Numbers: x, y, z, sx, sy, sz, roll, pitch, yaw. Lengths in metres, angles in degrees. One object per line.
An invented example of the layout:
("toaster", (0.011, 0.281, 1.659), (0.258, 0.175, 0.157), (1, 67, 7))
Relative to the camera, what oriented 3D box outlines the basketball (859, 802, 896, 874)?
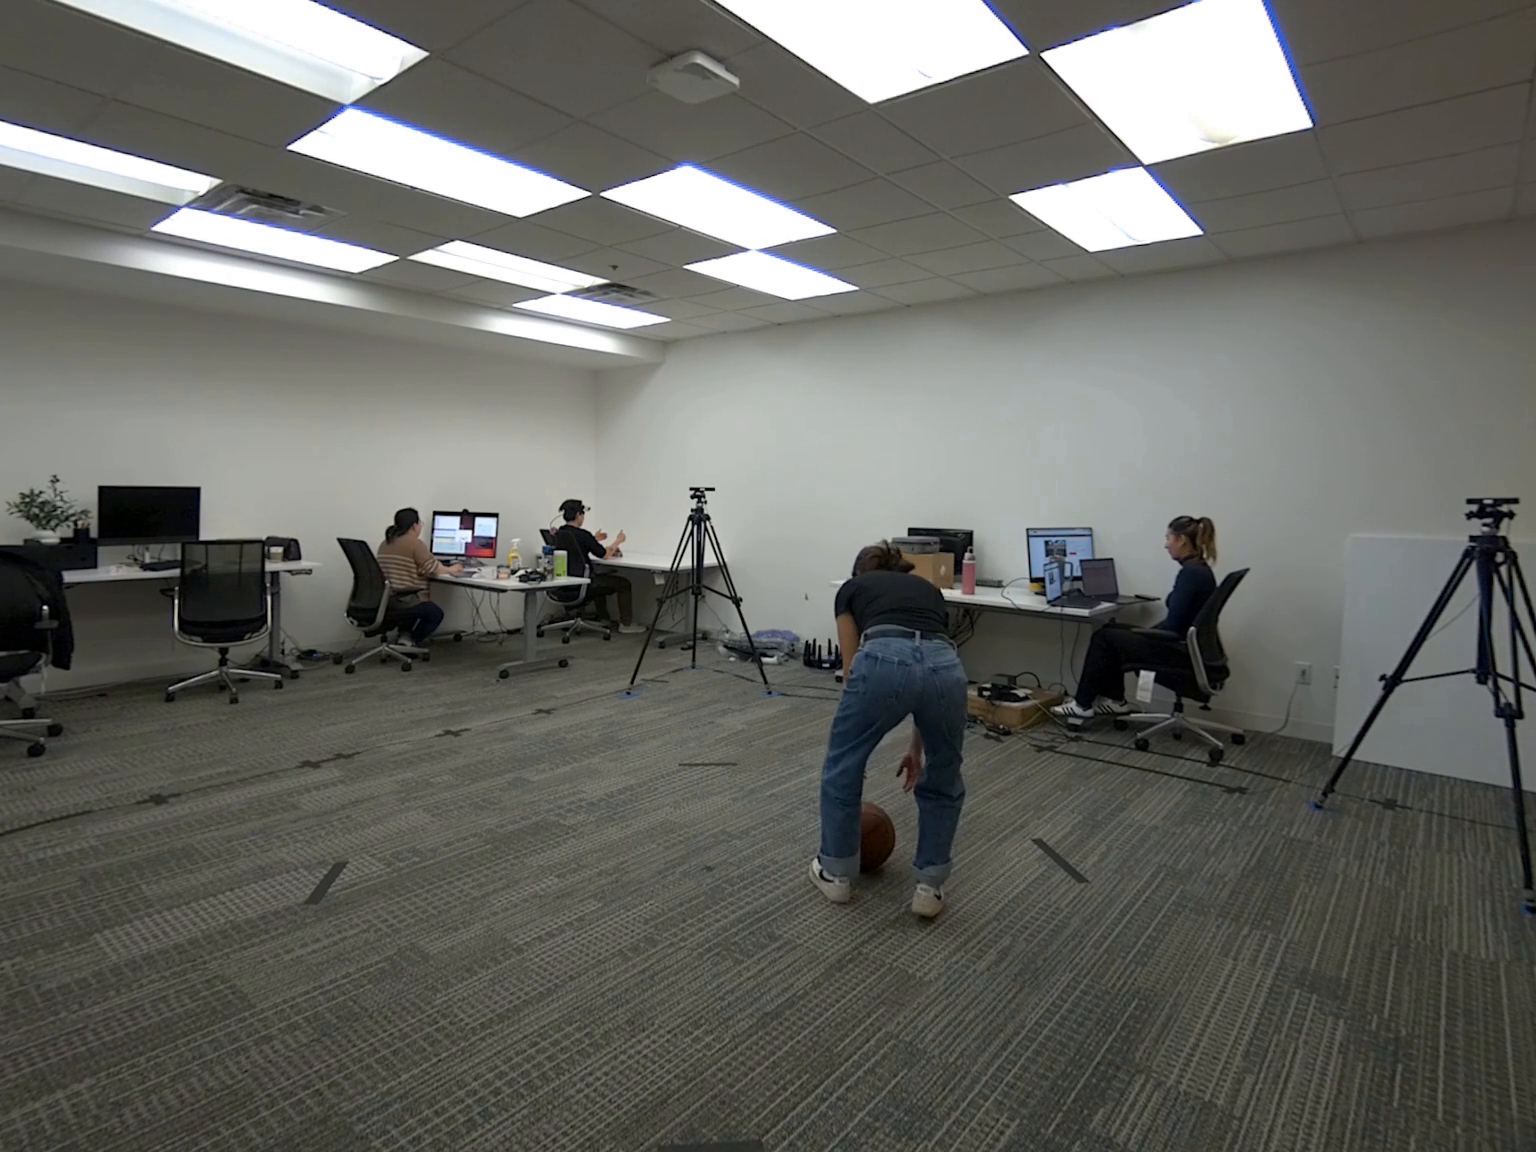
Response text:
("basketball", (0.344, 0.954, 3.151), (0.235, 0.235, 0.237), (1, 4, -2))
